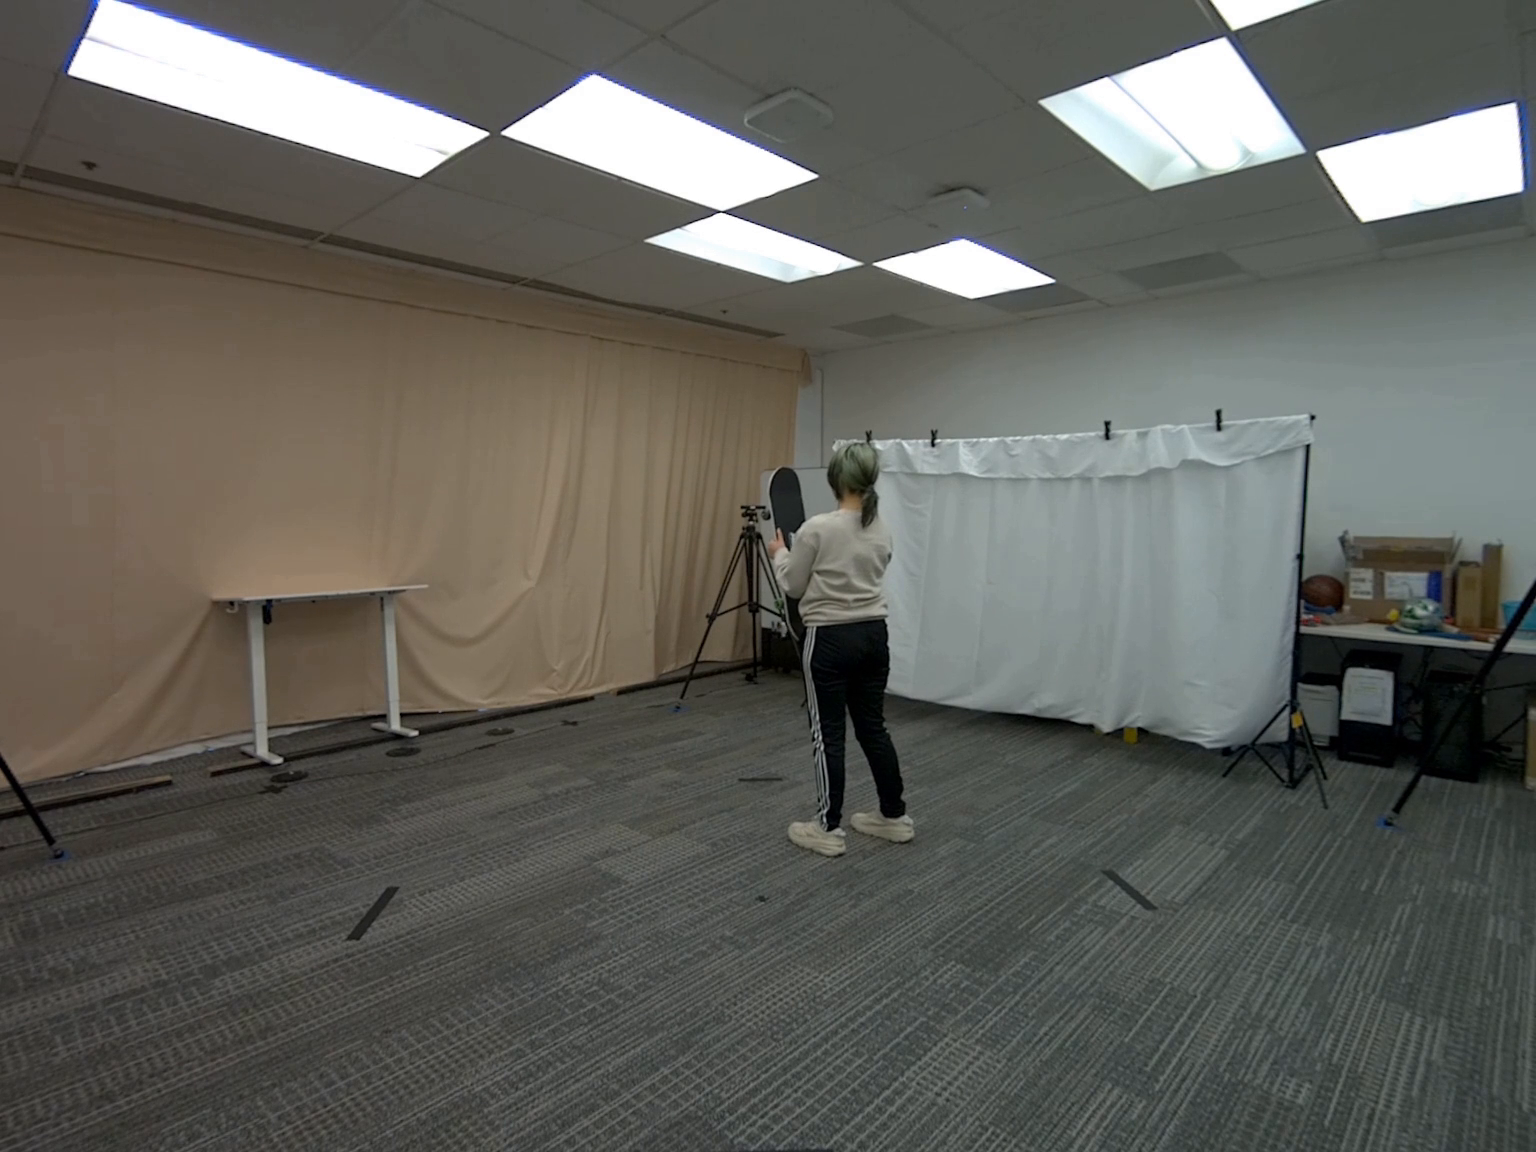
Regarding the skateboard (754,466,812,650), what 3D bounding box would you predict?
[{"bbox_3d":[0.107,-0.087,3.738,0.188,0.787,0.113,-7,-3,-39],"label":"skateboard"}]
